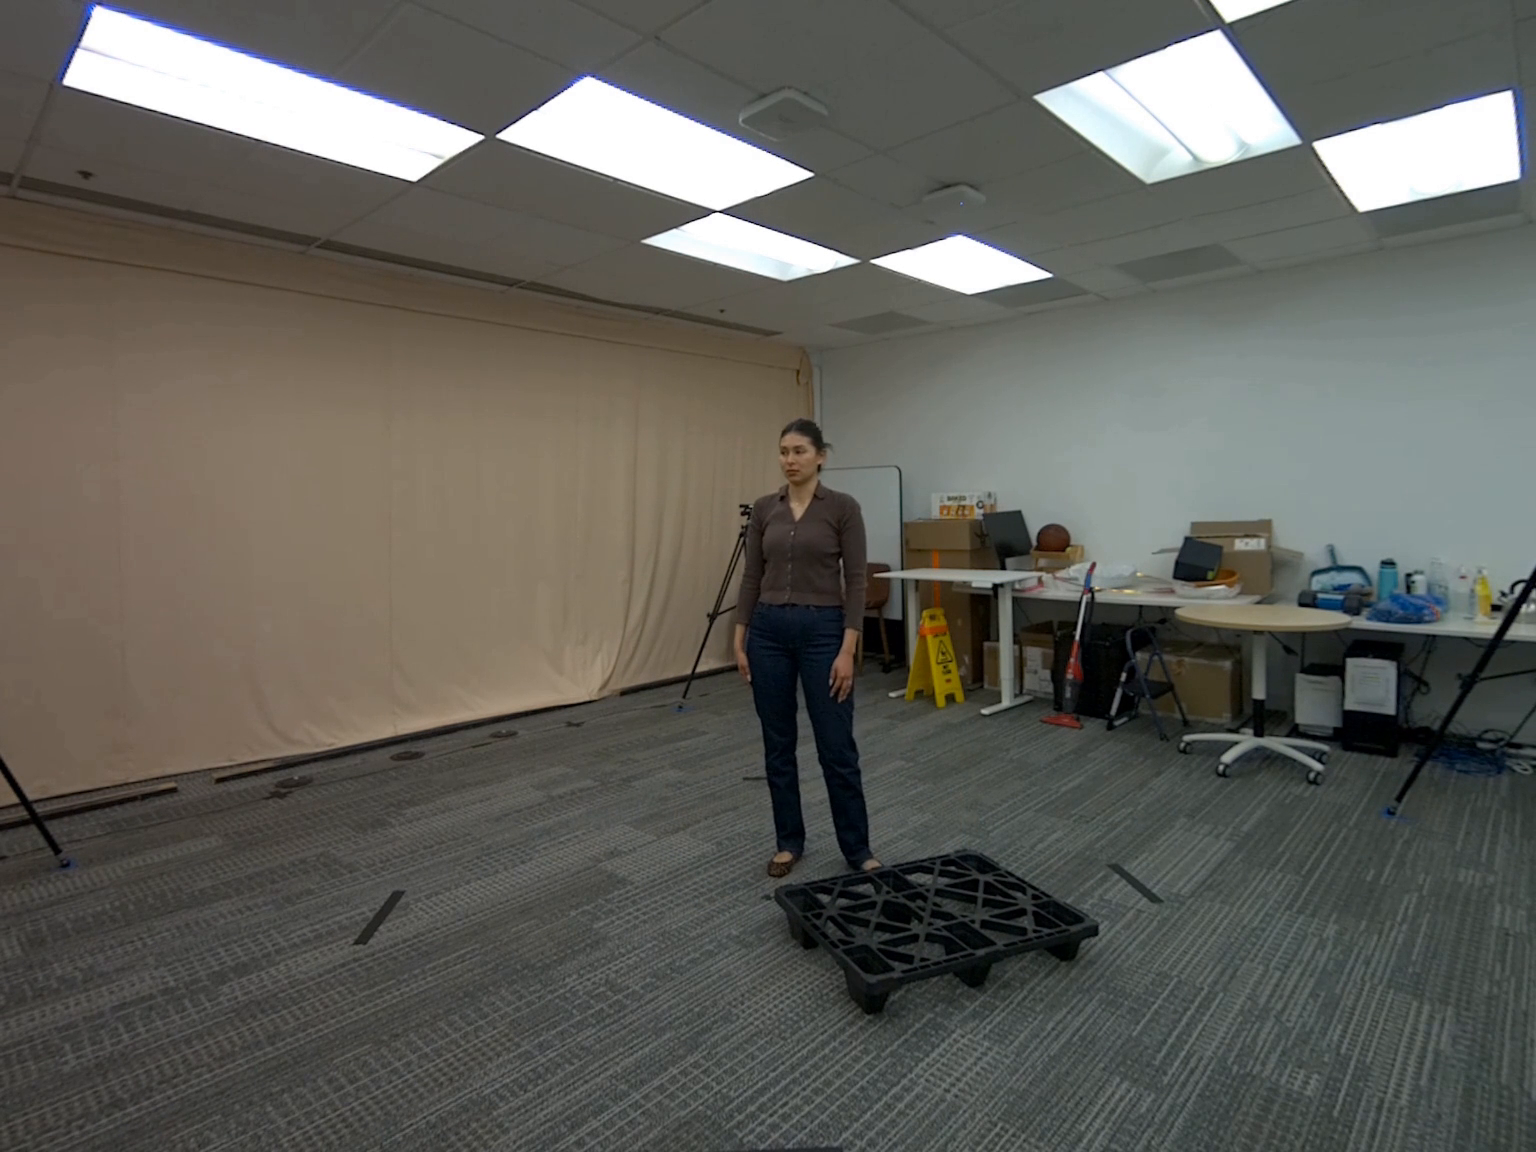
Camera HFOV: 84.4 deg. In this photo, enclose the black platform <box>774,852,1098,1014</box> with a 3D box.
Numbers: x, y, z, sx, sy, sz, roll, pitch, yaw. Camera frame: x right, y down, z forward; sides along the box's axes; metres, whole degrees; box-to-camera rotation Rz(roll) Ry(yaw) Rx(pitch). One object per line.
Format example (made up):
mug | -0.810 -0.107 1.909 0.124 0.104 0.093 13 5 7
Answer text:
black platform | 0.514 1.092 2.628 0.788 0.143 0.620 -3 6 -23
